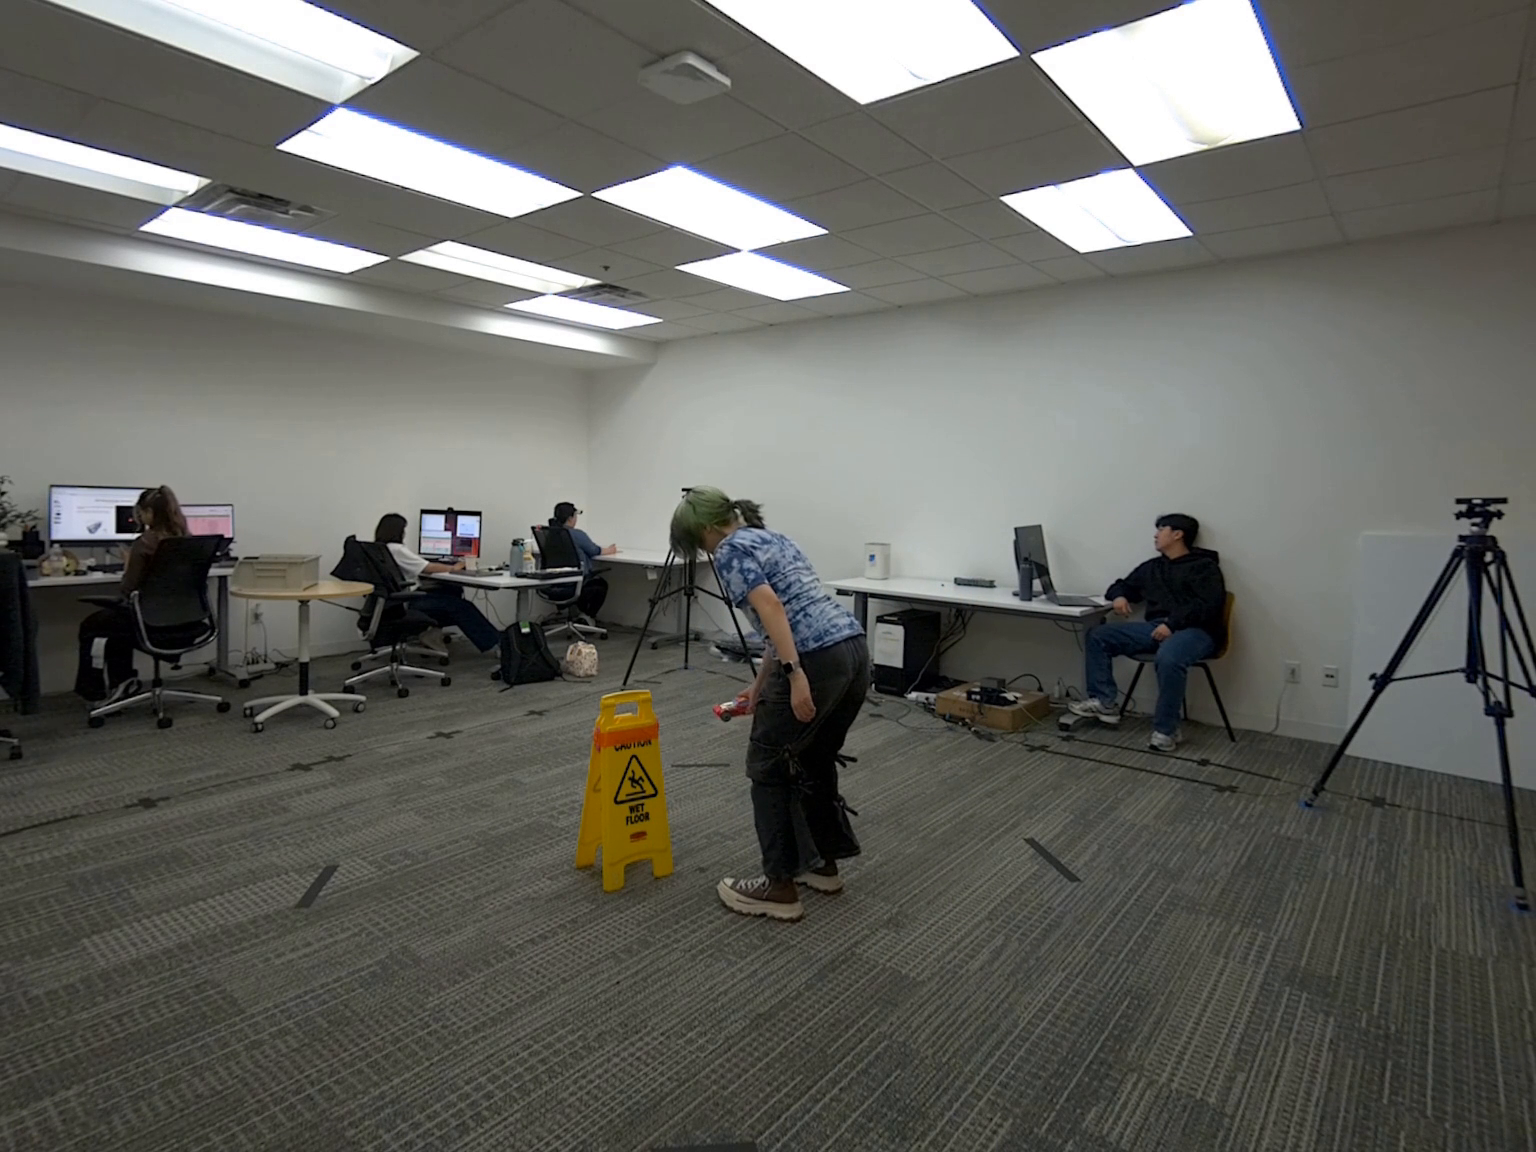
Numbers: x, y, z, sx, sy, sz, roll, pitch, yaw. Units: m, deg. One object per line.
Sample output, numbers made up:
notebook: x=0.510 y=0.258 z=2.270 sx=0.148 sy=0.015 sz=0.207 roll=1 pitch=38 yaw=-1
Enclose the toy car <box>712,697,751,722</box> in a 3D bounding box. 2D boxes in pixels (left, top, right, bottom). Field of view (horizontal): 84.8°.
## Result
toy car: x=-0.094 y=0.521 z=3.337 sx=0.252 sy=0.083 sz=0.132 roll=-17 pitch=7 yaw=-13
